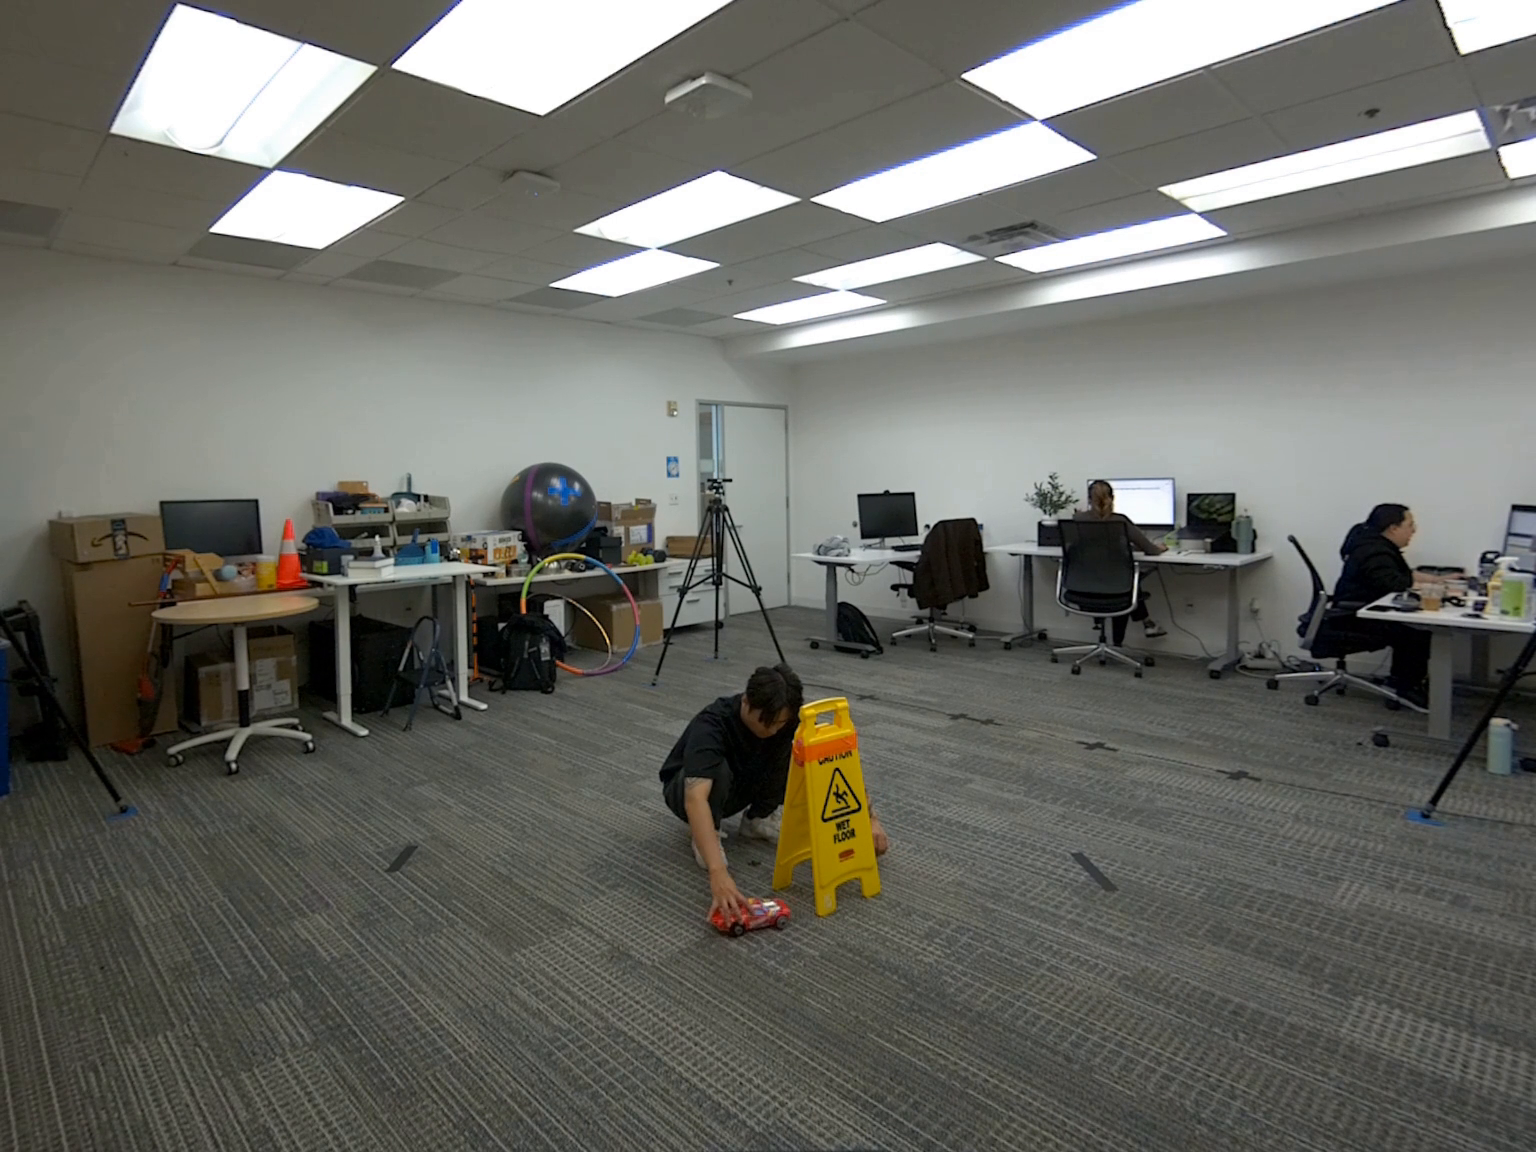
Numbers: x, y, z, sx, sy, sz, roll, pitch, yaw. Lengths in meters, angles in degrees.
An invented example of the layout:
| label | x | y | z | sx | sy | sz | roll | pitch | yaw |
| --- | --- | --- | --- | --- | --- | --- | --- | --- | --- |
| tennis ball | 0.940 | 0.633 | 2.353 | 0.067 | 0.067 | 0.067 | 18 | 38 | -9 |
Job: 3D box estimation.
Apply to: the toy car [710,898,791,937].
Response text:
| label | x | y | z | sx | sy | sz | roll | pitch | yaw |
| --- | --- | --- | --- | --- | --- | --- | --- | --- | --- |
| toy car | -0.071 | 1.069 | 2.681 | 0.250 | 0.083 | 0.133 | 7 | 3 | -16 |
